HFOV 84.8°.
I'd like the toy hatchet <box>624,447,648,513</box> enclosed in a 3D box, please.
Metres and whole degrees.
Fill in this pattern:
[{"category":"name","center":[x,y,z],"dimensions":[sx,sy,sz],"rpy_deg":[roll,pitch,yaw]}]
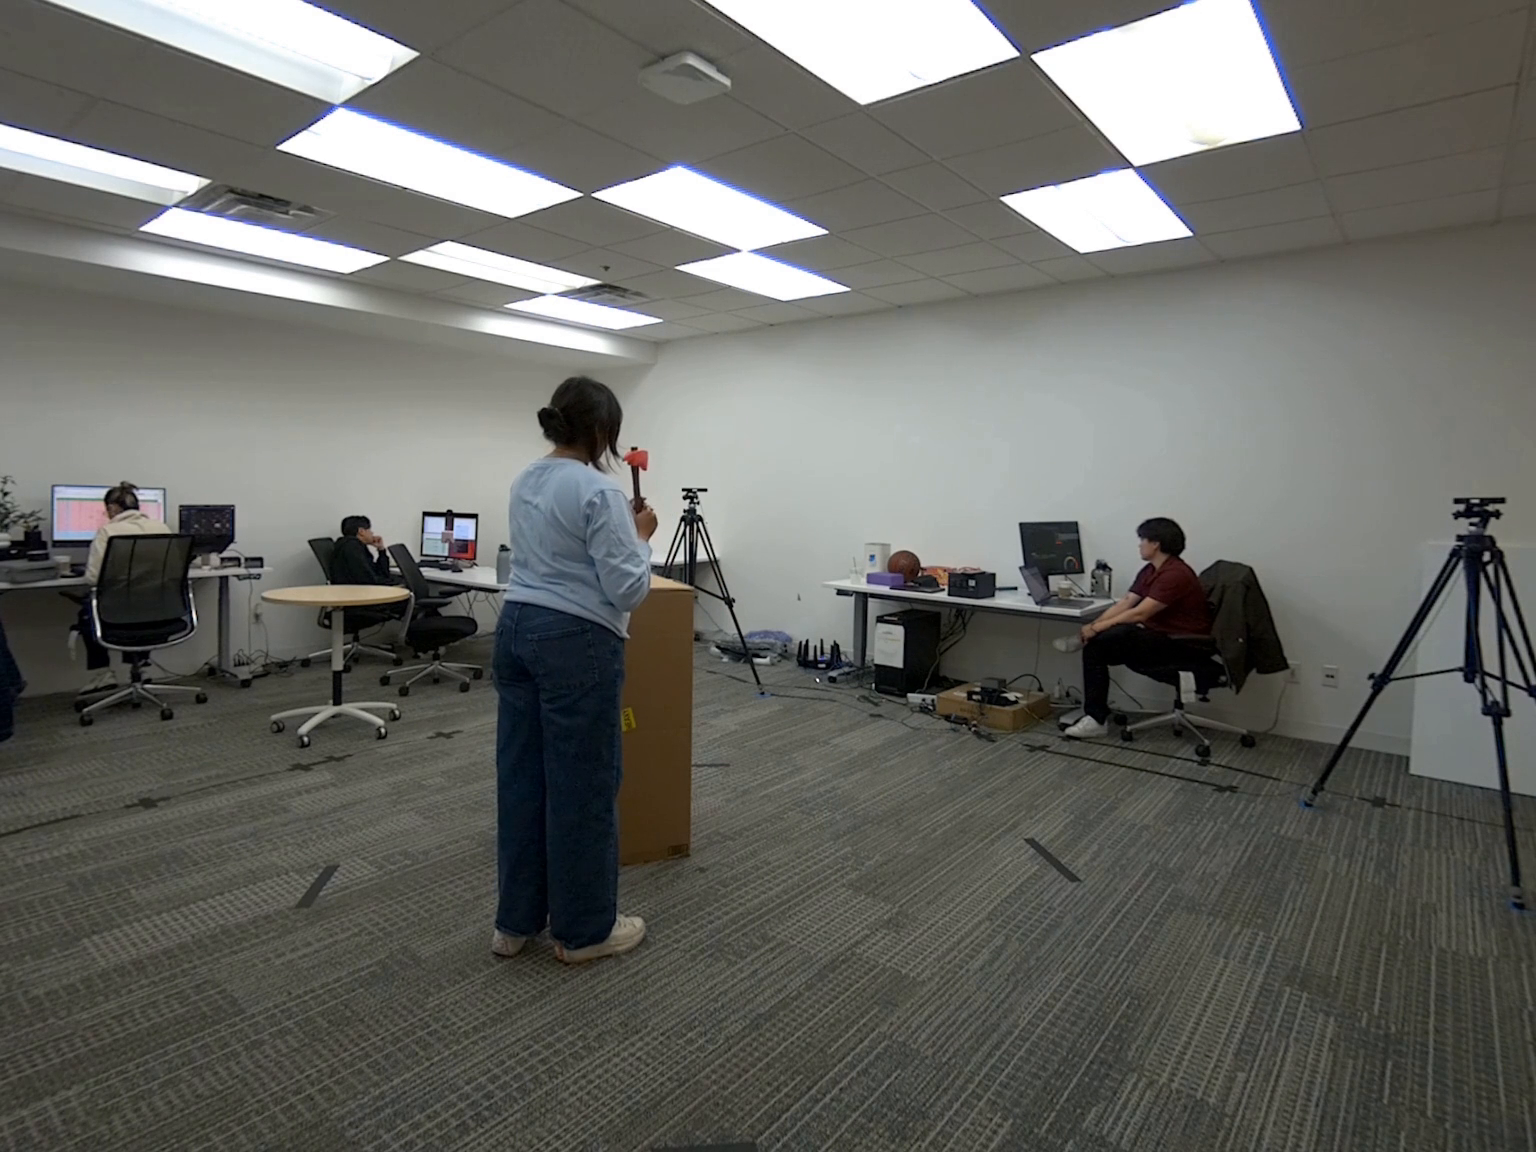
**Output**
[{"category":"toy hatchet","center":[-0.390,-0.269,2.598],"dimensions":[0.030,0.262,0.132],"rpy_deg":[3,32,20]}]
